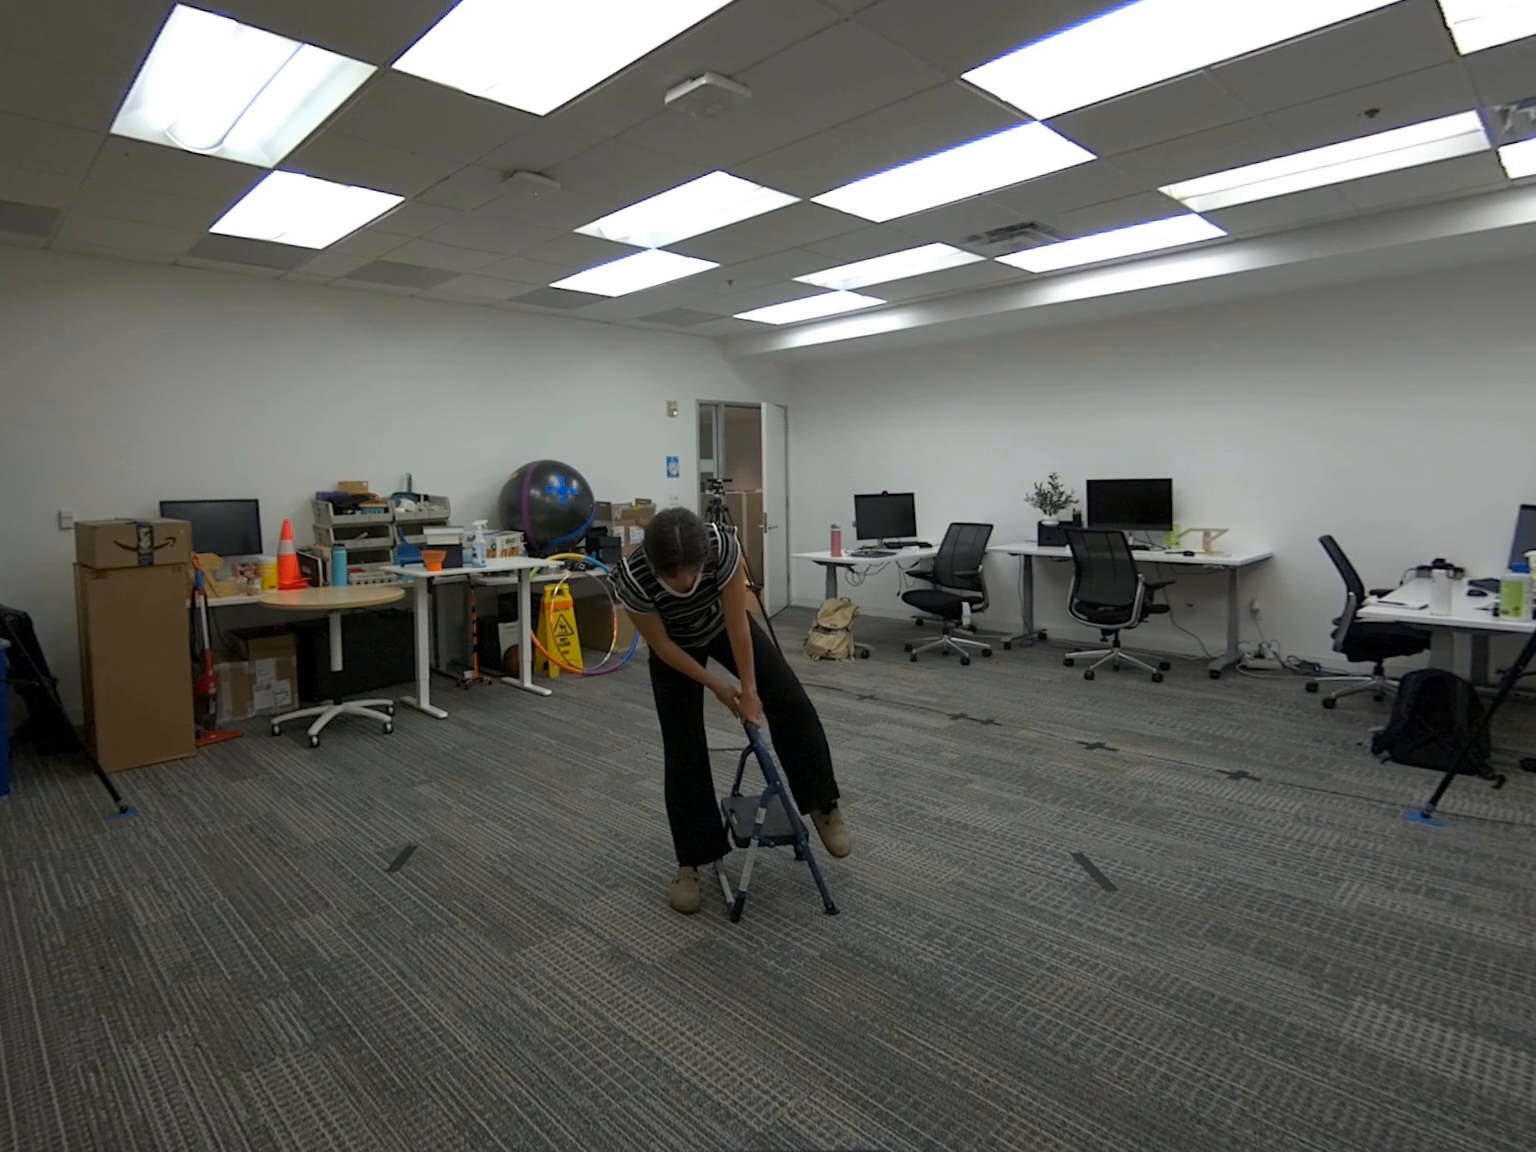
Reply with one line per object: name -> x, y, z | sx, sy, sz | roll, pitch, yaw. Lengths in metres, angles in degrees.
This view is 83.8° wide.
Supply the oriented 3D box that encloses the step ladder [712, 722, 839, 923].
step ladder -> 0.010, 0.766, 2.899 | 0.346, 0.604, 0.437 | -2, 4, -11
